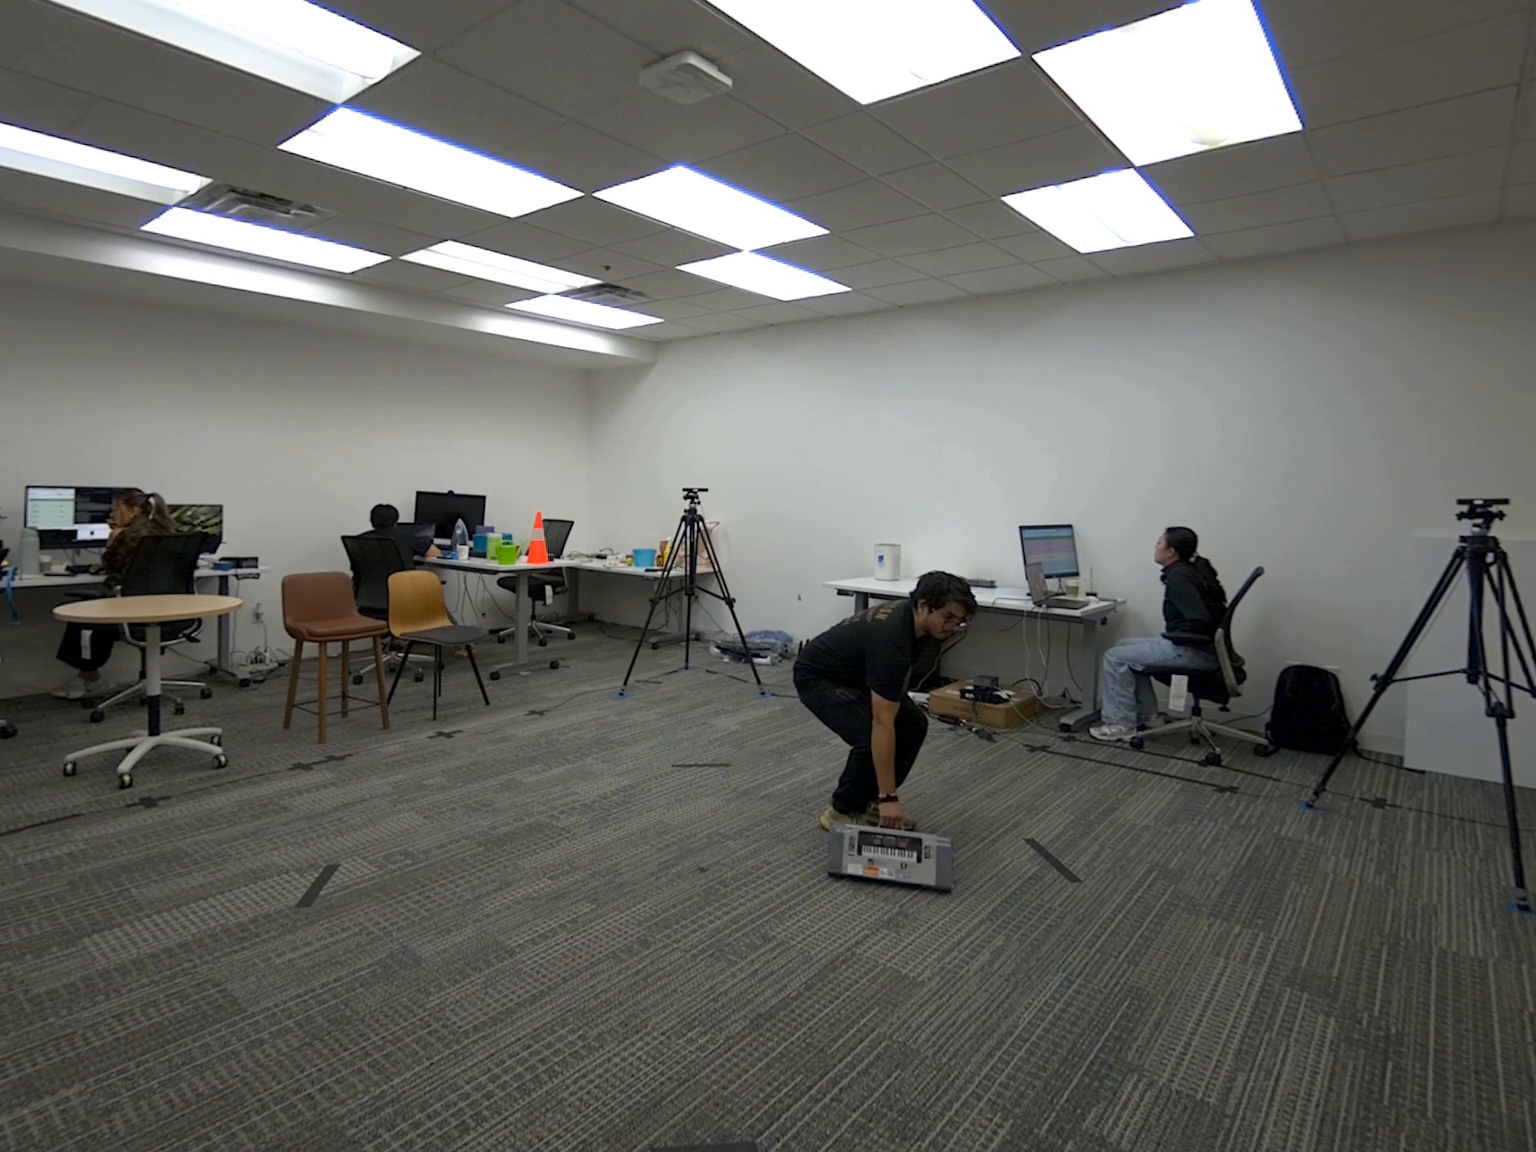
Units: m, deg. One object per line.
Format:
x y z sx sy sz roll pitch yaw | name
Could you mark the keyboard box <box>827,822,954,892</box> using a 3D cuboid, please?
0.433 1.000 3.065 0.443 0.179 0.057 3 -25 13 | keyboard box
